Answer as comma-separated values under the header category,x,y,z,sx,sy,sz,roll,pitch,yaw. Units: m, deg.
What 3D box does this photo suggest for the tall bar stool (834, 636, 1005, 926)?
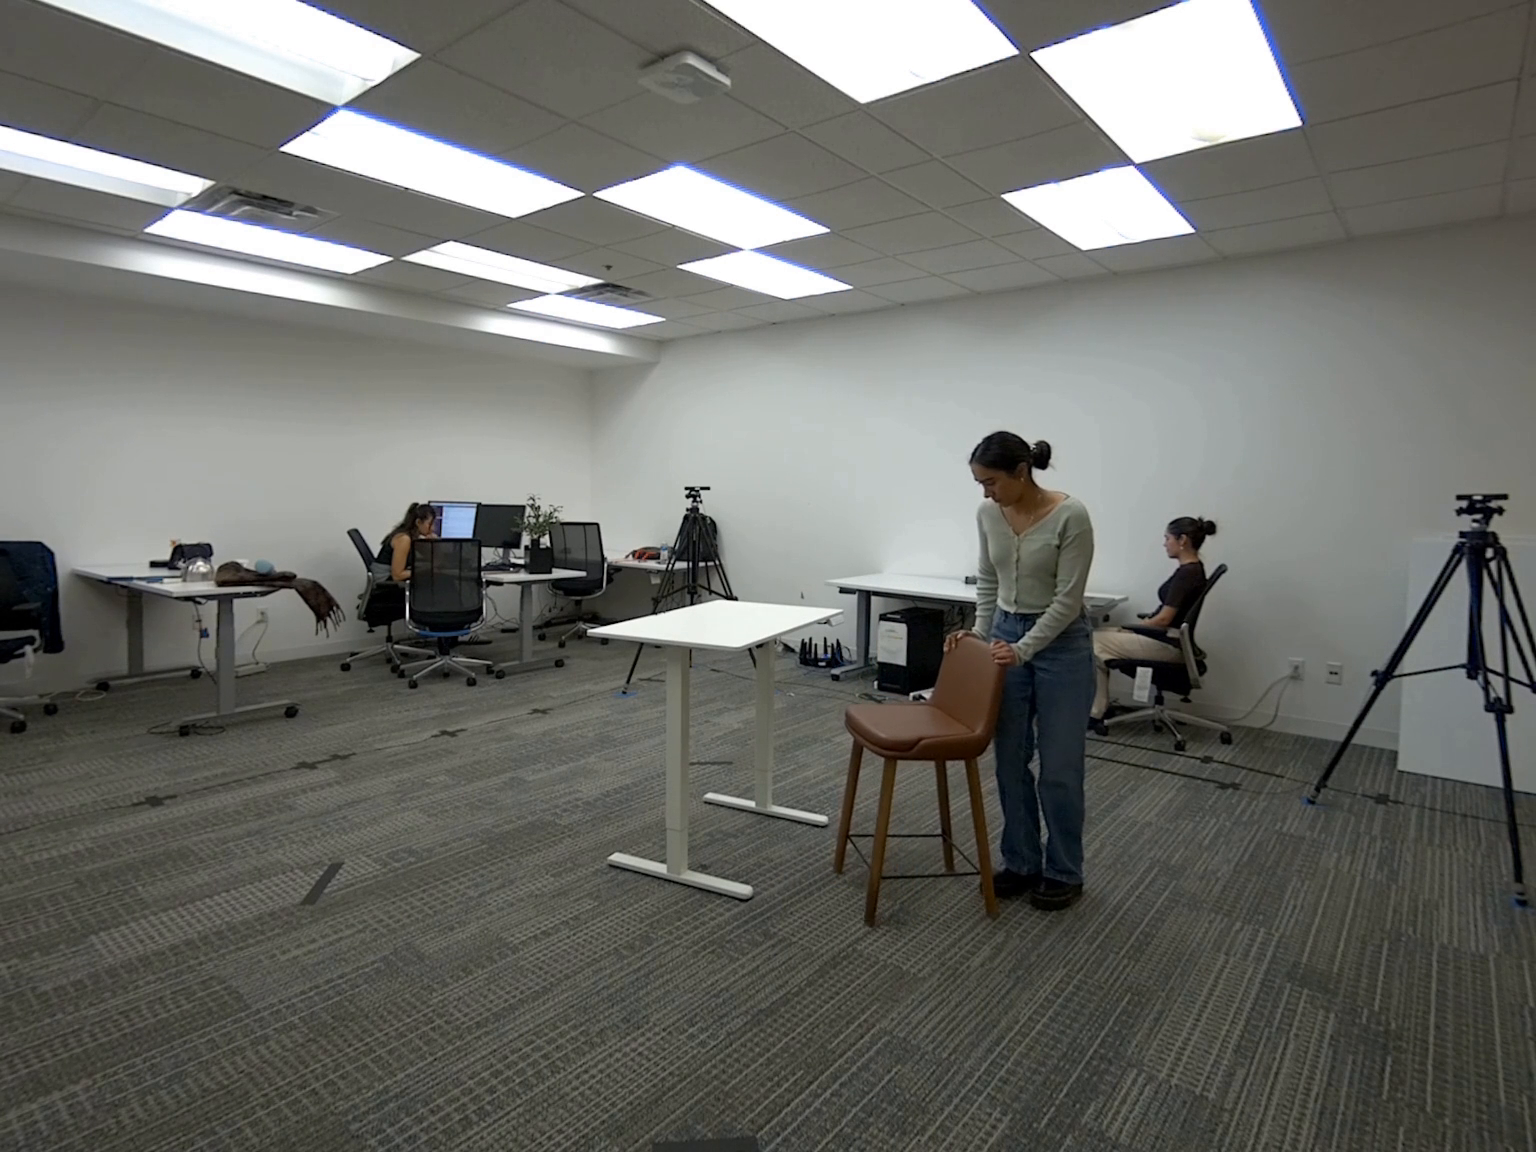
category,x,y,z,sx,sy,sz,roll,pitch,yaw
tall bar stool,0.509,0.660,2.914,0.463,0.887,0.462,3,3,-10
